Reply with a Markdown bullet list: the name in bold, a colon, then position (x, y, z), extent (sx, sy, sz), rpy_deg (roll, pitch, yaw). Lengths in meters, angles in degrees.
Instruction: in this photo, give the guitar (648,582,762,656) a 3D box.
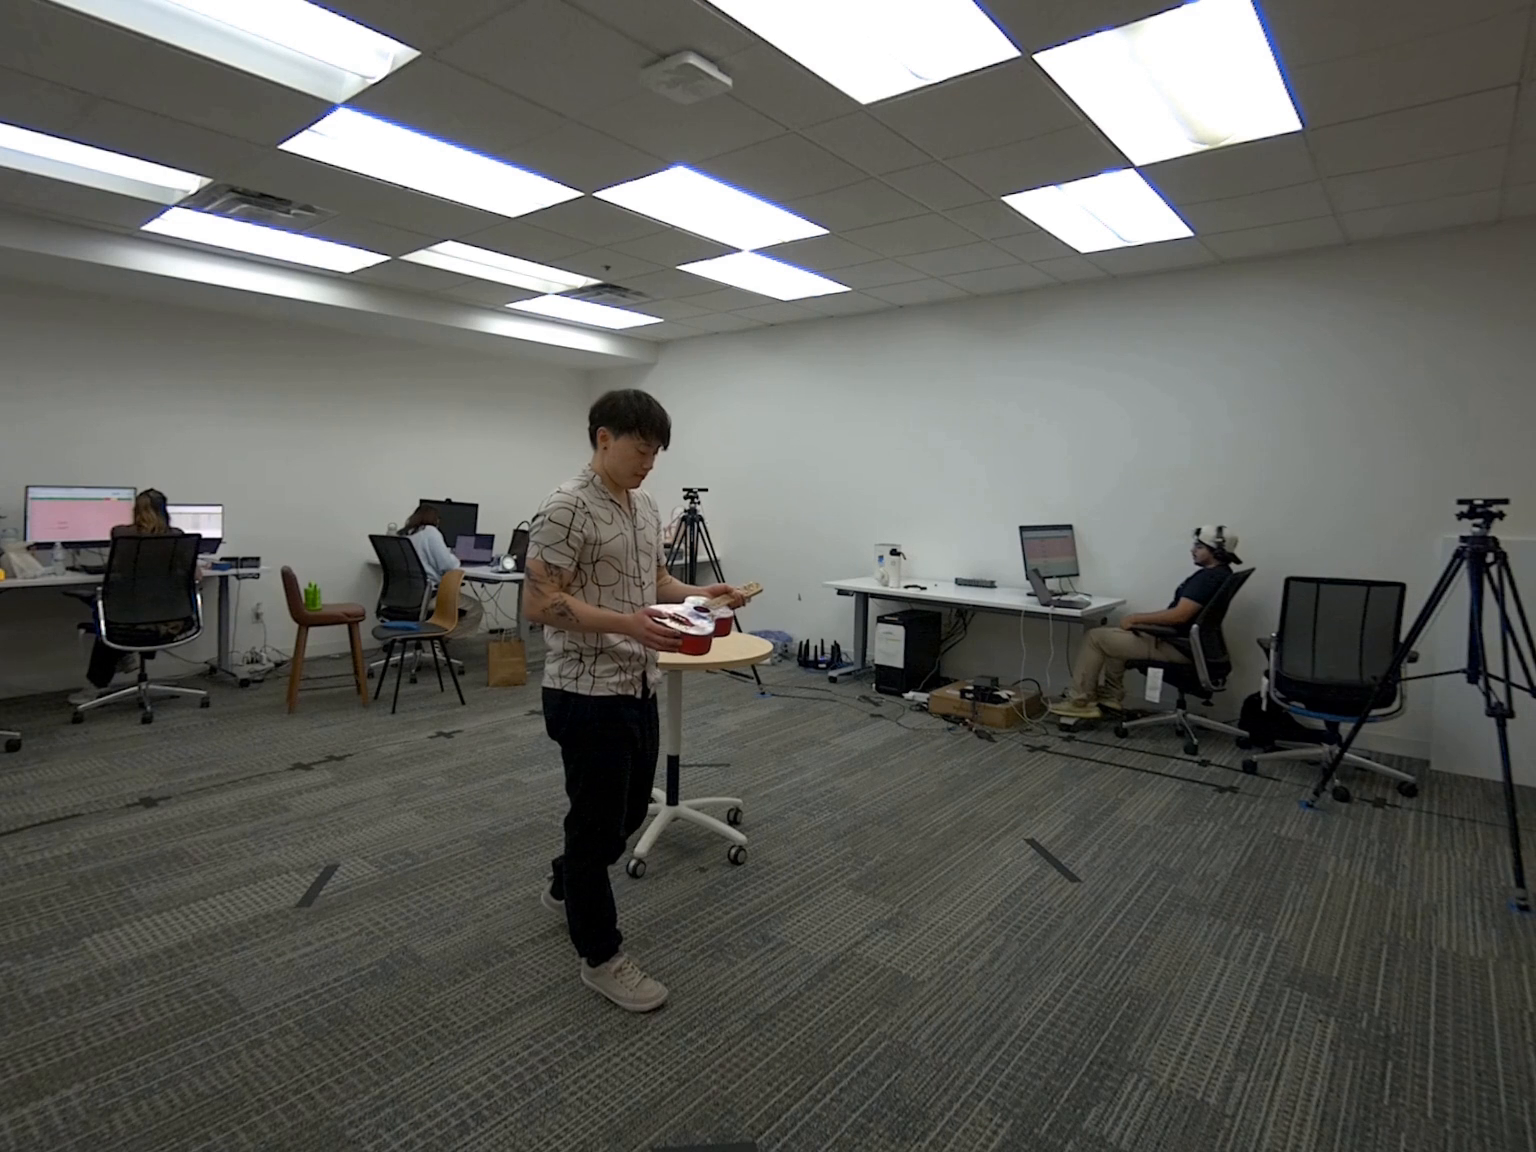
- **guitar**: position (-0.141, 0.112, 2.332), extent (0.200, 0.070, 0.486), rpy_deg (23, 21, 29)
